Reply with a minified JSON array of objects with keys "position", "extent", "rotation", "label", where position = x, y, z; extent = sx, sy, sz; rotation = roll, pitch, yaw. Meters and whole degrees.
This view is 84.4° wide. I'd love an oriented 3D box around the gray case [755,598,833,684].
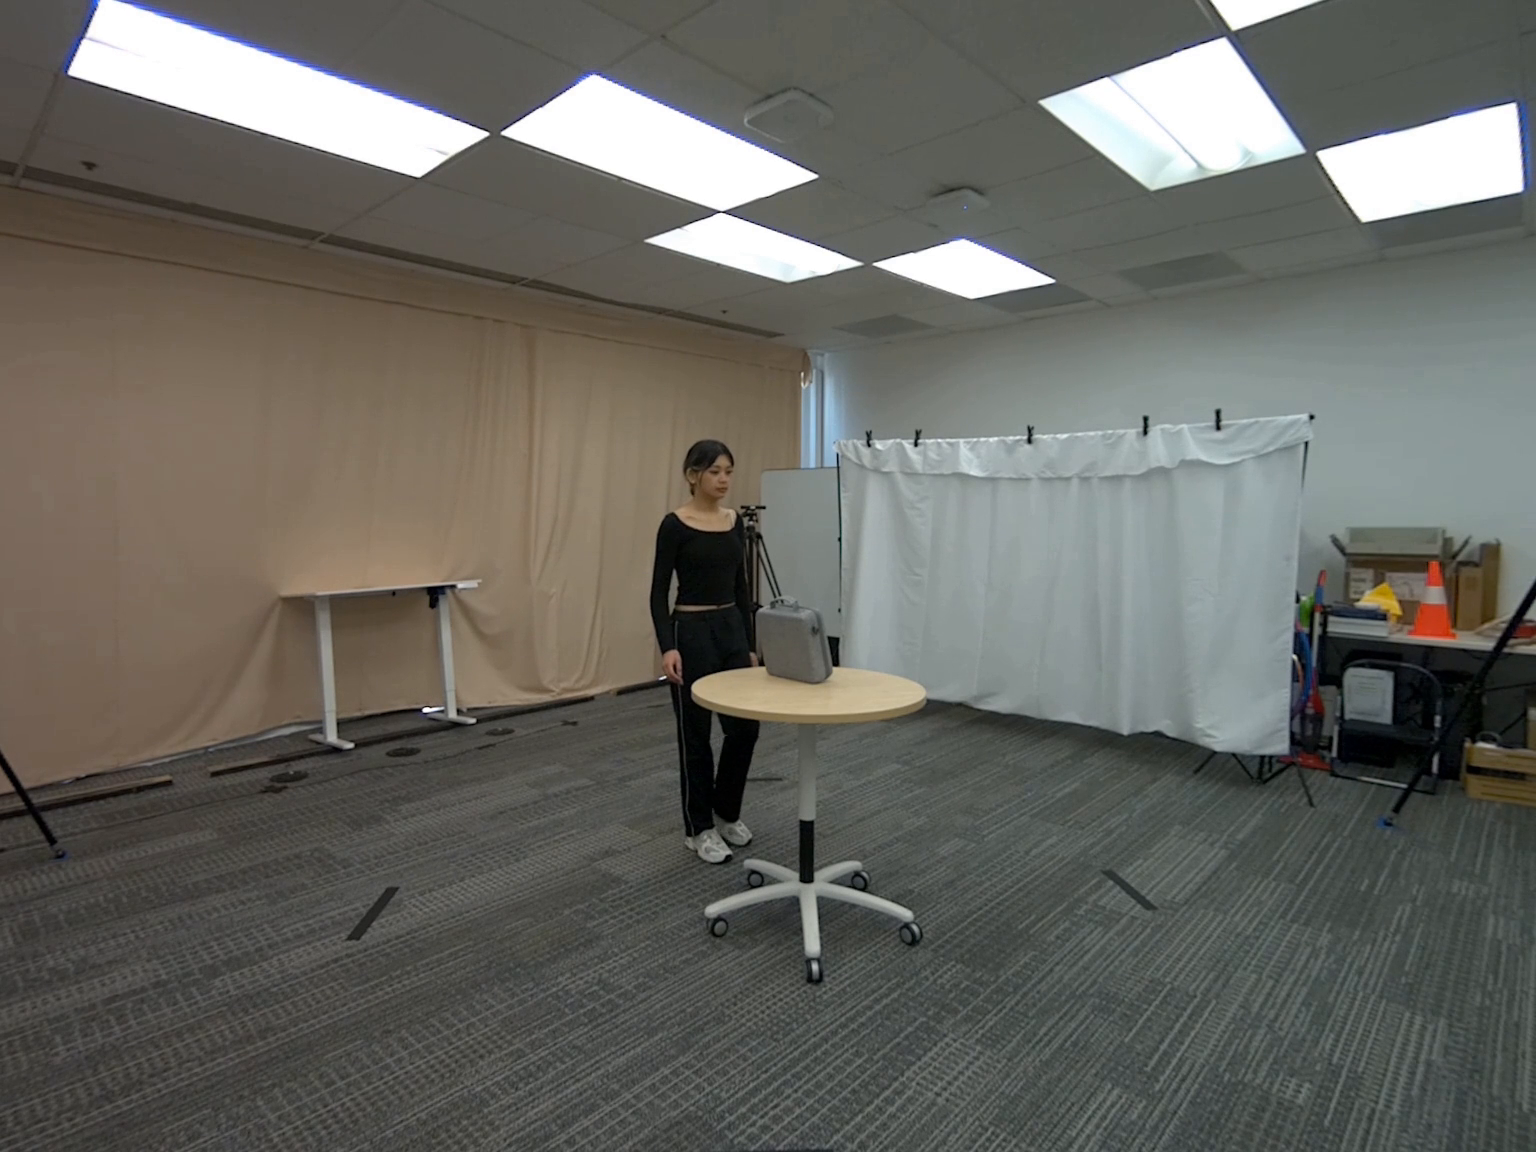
[{"position":[0.093,0.226,2.908],"extent":[0.102,0.258,0.265],"rotation":[-17,13,-38],"label":"gray case"}]
